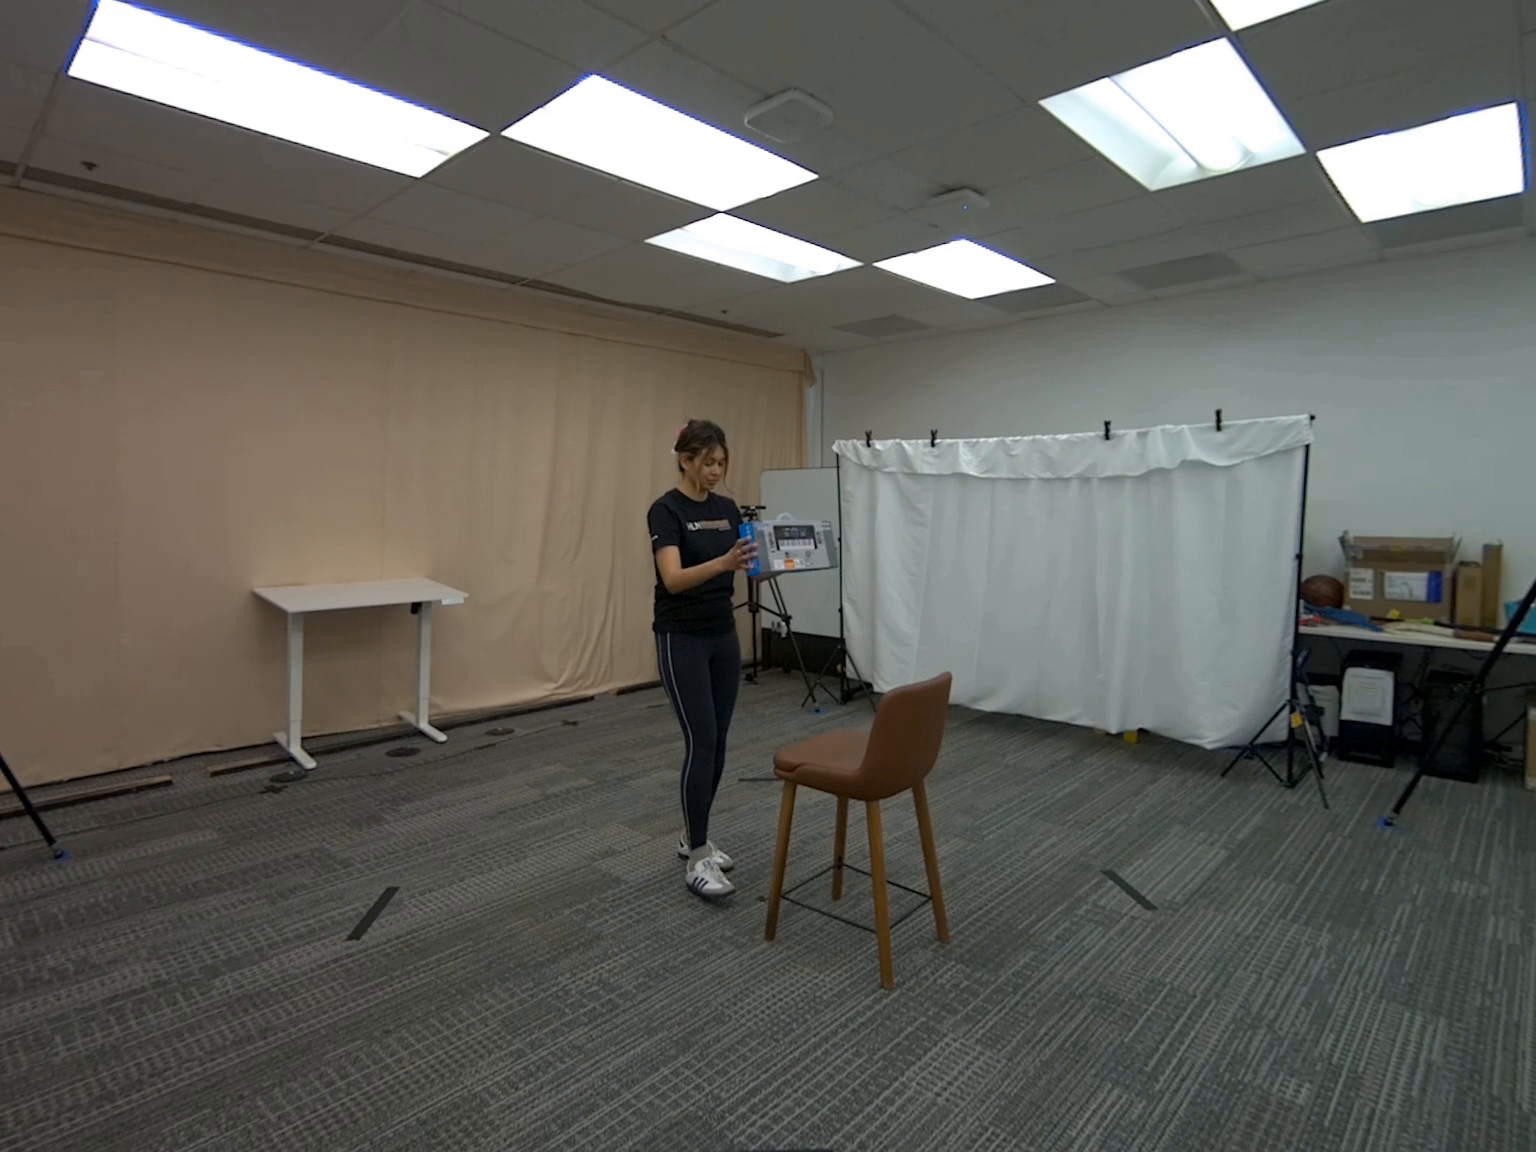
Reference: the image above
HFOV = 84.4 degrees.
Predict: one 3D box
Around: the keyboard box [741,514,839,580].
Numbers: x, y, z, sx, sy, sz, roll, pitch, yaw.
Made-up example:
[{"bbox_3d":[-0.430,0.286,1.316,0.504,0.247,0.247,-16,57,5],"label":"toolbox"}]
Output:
[{"bbox_3d":[0.087,-0.098,2.899,0.060,0.177,0.423,-15,-8,41],"label":"keyboard box"}]
